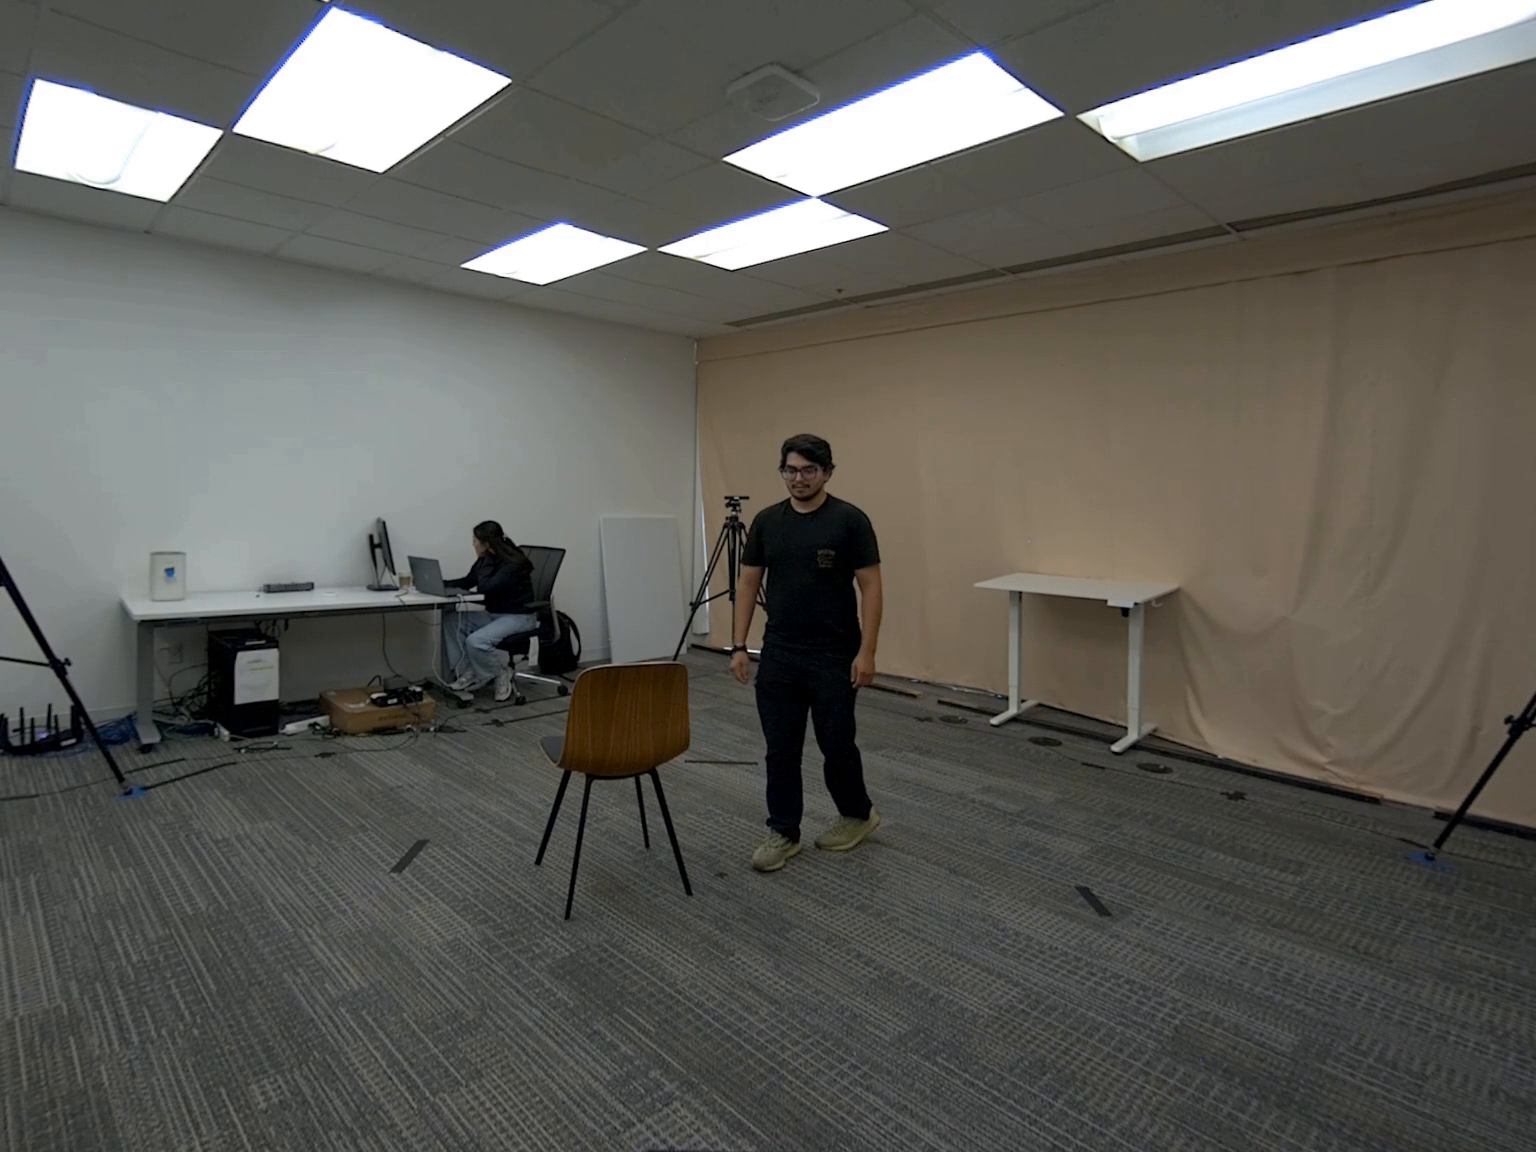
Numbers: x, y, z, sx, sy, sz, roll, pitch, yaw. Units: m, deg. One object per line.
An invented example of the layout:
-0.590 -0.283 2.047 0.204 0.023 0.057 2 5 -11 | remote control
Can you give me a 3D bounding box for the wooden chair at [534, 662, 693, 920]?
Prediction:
-0.563 0.676 3.017 0.469 0.873 0.536 -1 8 -27 | wooden chair
